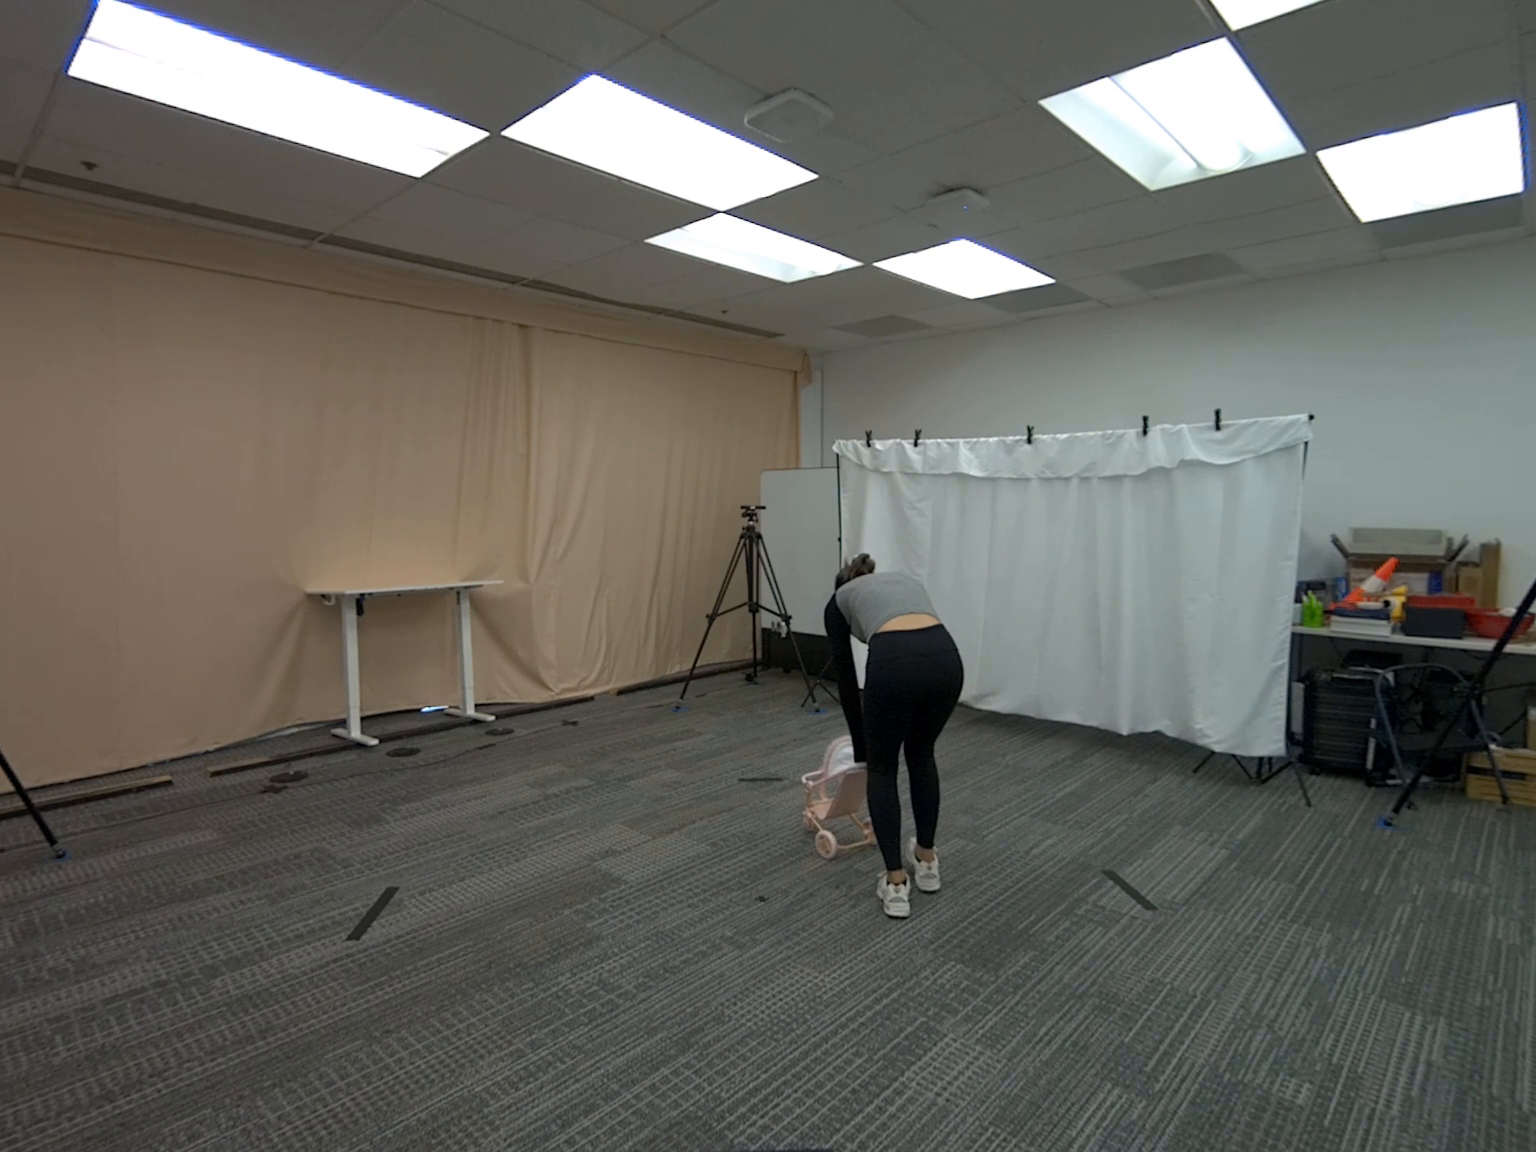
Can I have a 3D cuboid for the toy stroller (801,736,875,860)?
[{"bbox_3d":[0.298,0.881,3.431,0.273,0.531,0.353,-1,20,-33],"label":"toy stroller"}]
